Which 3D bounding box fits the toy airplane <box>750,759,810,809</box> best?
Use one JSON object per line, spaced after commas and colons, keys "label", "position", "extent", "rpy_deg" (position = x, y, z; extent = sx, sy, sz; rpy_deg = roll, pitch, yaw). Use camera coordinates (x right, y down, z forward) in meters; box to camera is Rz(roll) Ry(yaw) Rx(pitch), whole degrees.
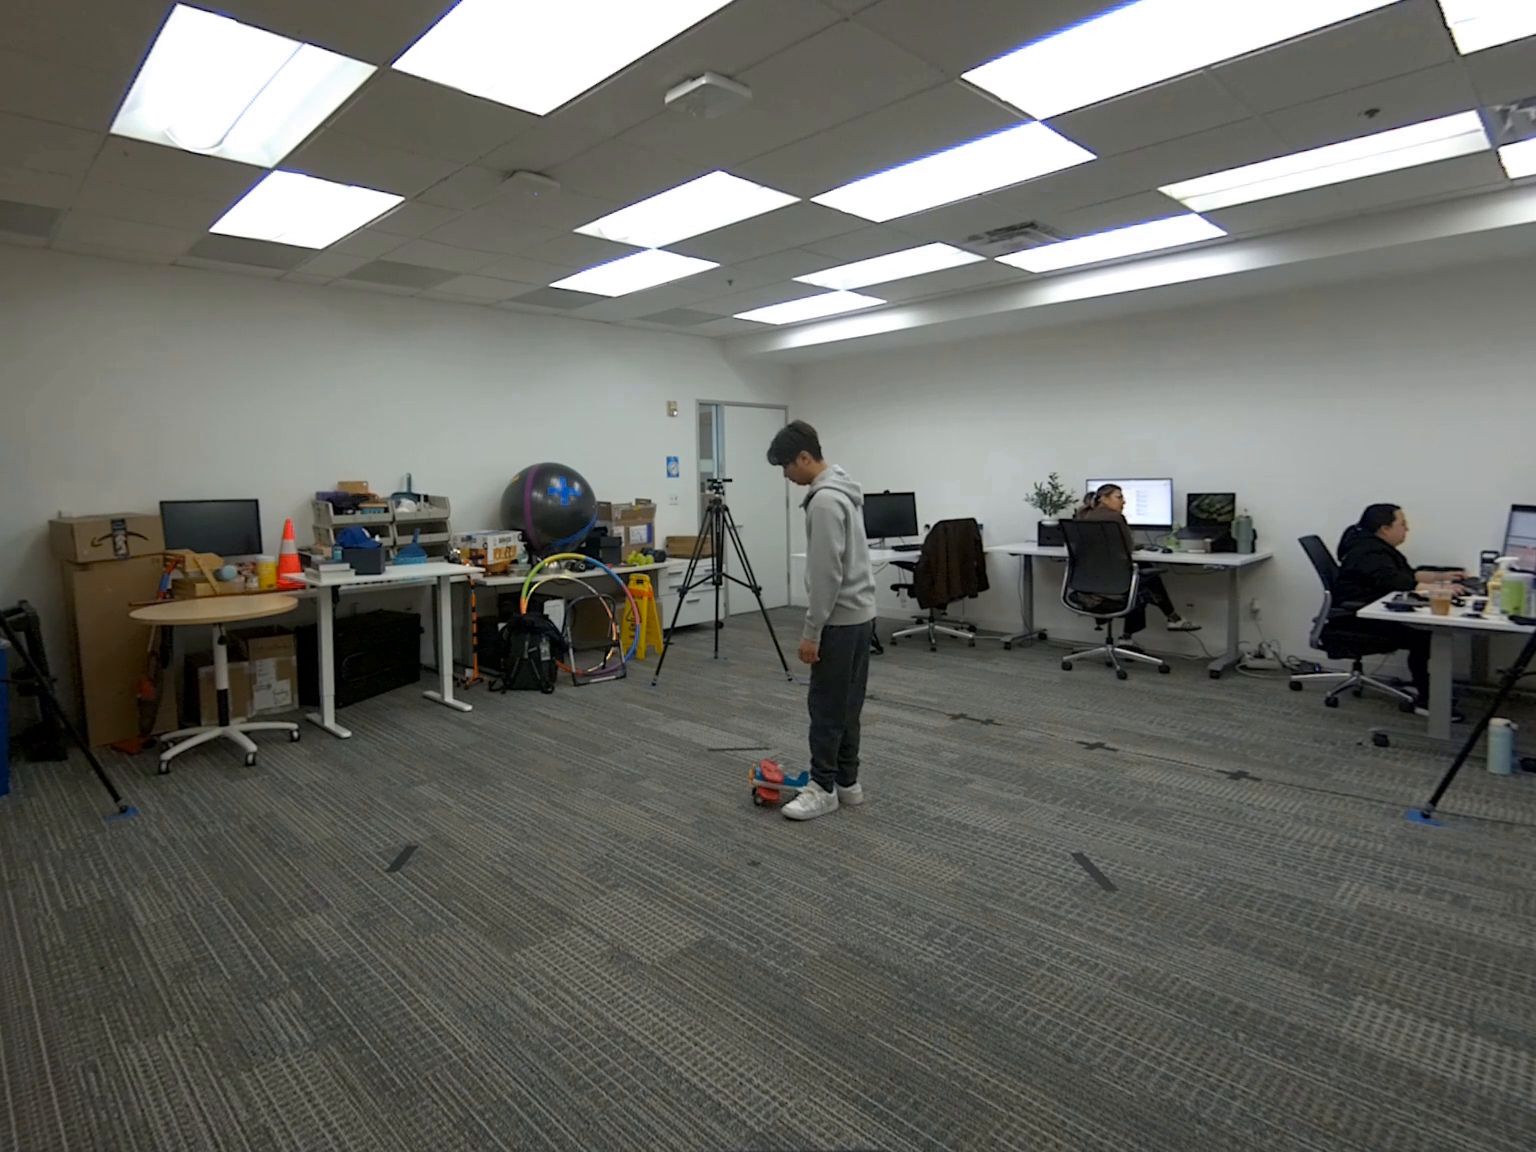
{"label": "toy airplane", "position": [0.046, 0.900, 3.713], "extent": [0.253, 0.156, 0.258], "rpy_deg": [-5, 6, -31]}
